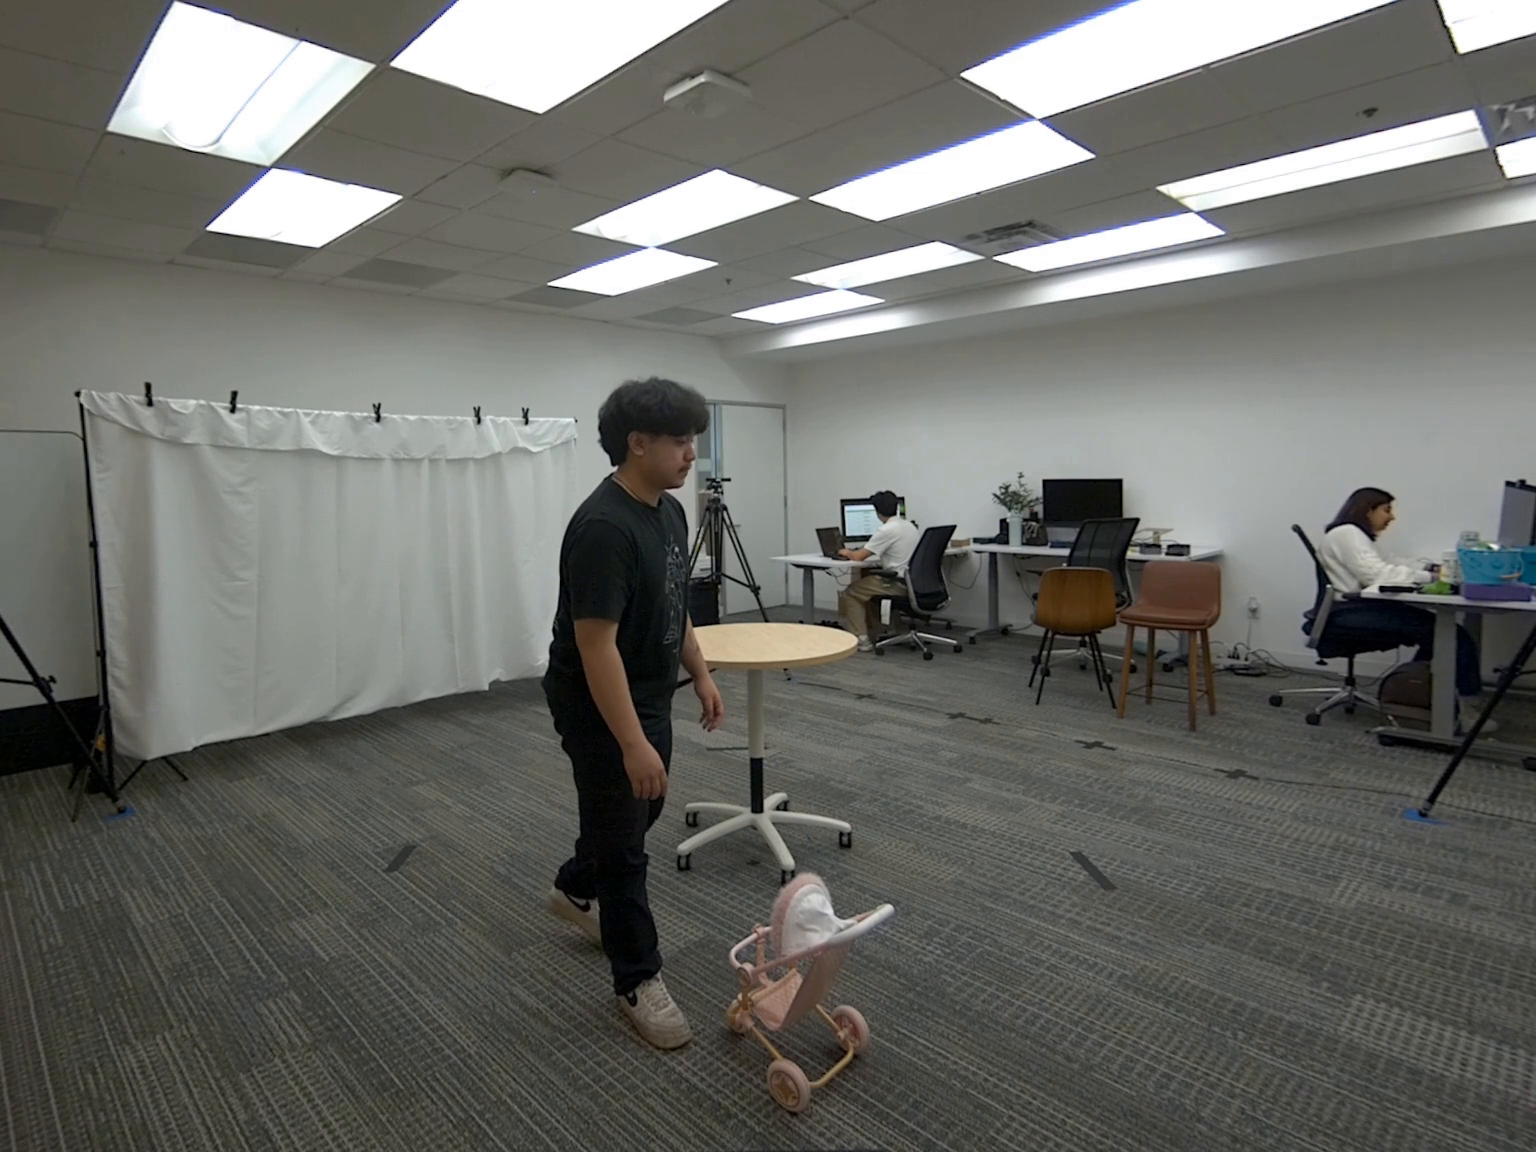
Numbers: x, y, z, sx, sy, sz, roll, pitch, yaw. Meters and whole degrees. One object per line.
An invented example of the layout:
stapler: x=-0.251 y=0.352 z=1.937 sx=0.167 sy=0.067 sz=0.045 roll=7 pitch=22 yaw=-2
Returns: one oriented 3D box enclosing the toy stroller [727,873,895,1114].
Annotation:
toy stroller: x=0.075 y=0.947 z=2.017 sx=0.354 sy=0.529 sz=0.274 roll=23 pitch=21 yaw=40
